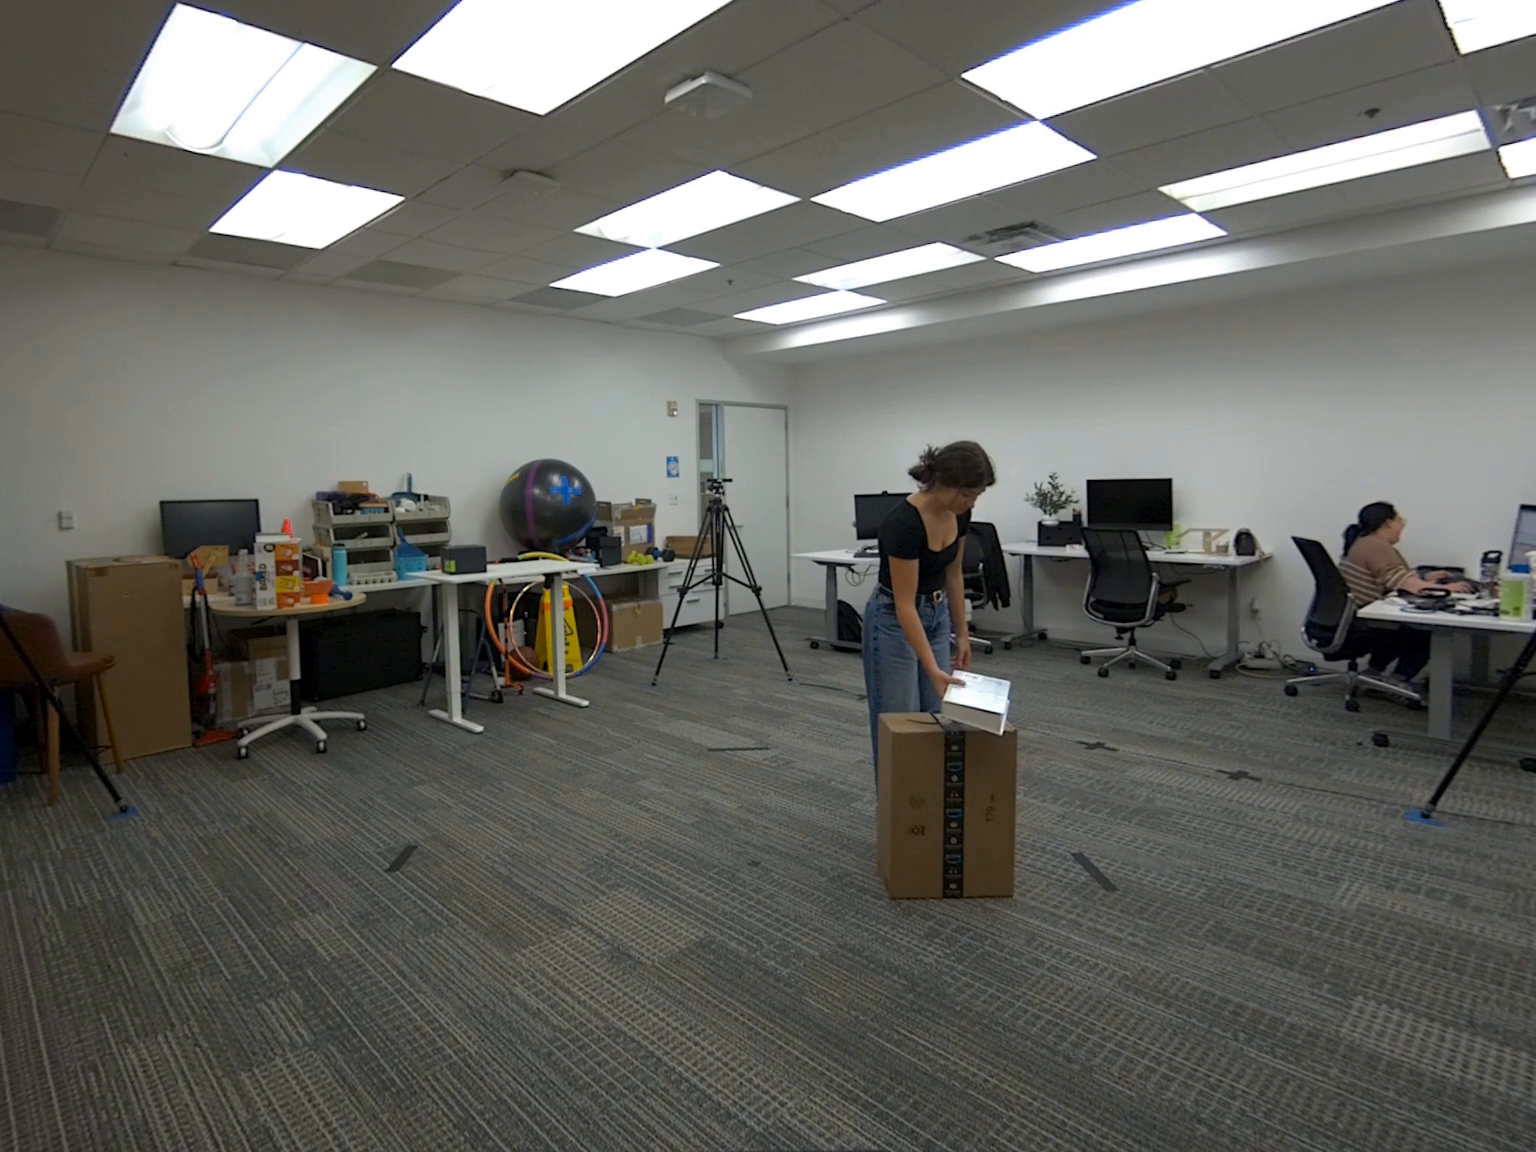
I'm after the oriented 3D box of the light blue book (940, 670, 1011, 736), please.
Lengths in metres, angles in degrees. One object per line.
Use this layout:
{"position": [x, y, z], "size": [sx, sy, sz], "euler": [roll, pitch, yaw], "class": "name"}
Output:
{"position": [0.693, 0.407, 2.768], "size": [0.195, 0.058, 0.259], "euler": [11, 19, 18], "class": "light blue book"}
